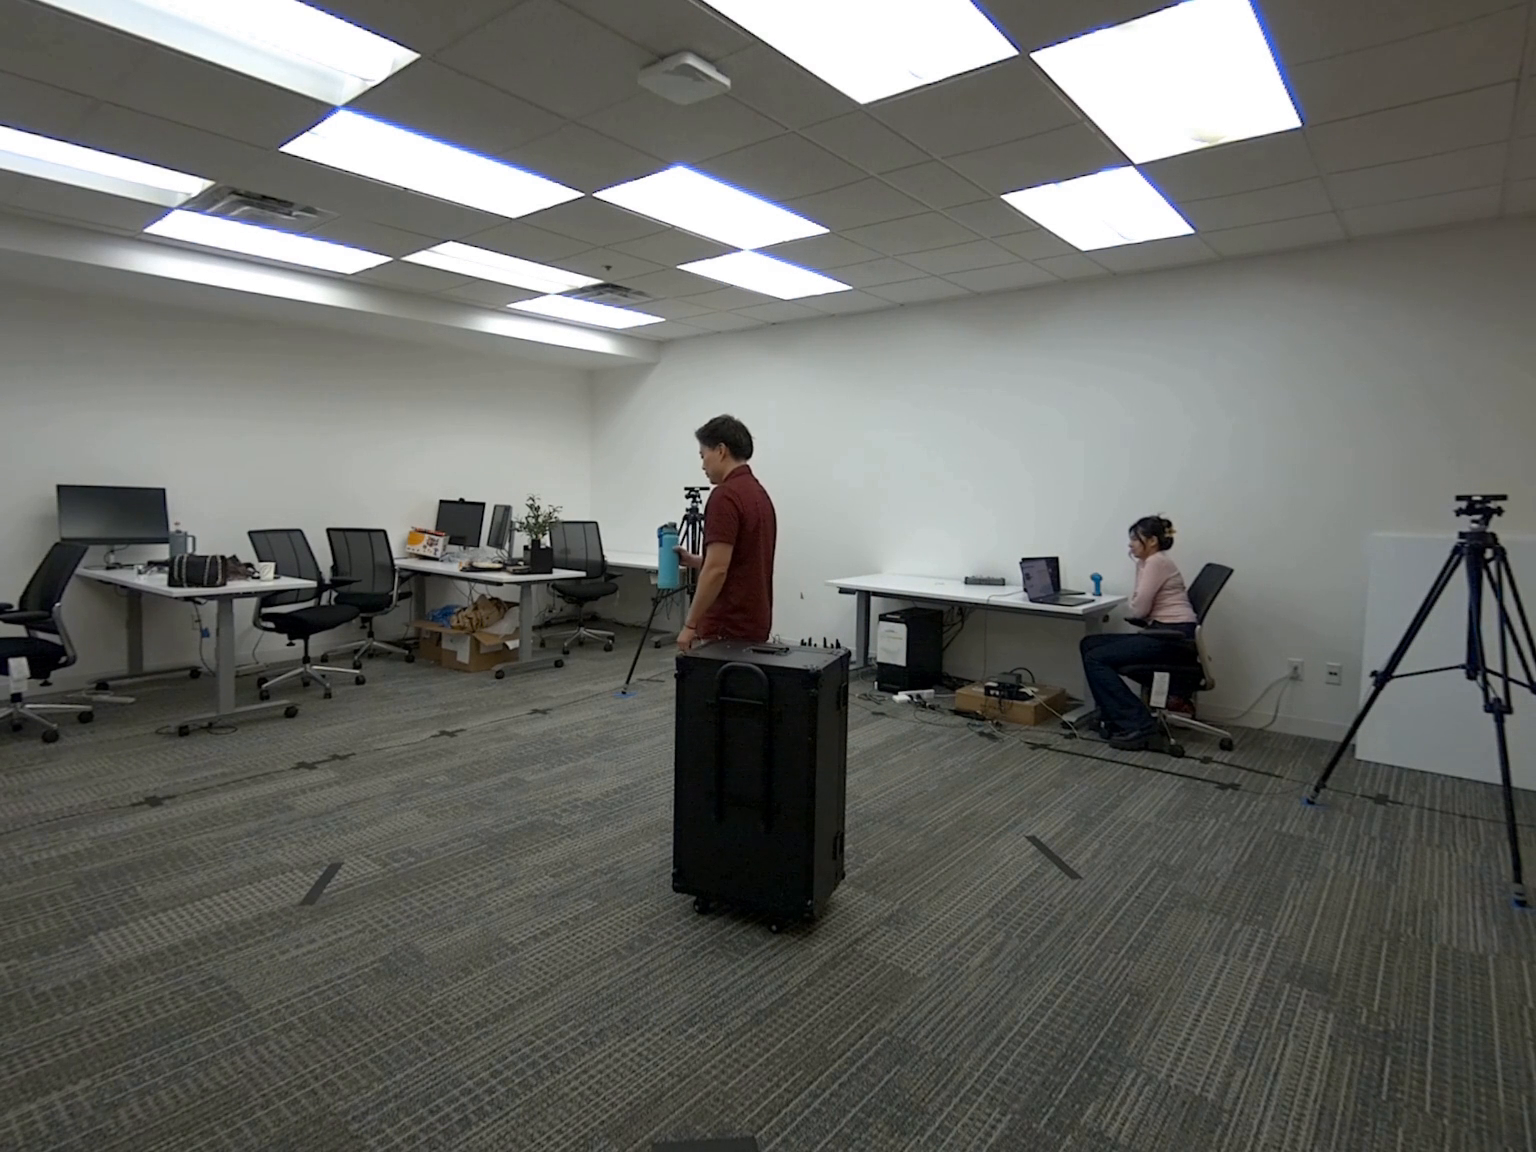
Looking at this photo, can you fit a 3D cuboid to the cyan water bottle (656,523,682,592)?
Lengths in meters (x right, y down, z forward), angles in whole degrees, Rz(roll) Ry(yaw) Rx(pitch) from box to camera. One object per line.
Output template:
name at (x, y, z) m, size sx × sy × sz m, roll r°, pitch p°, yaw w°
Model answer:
cyan water bottle at (-0.438, -0.095, 3.646) m, size 0.092 × 0.284 × 0.092 m, roll -3°, pitch -3°, yaw -2°
